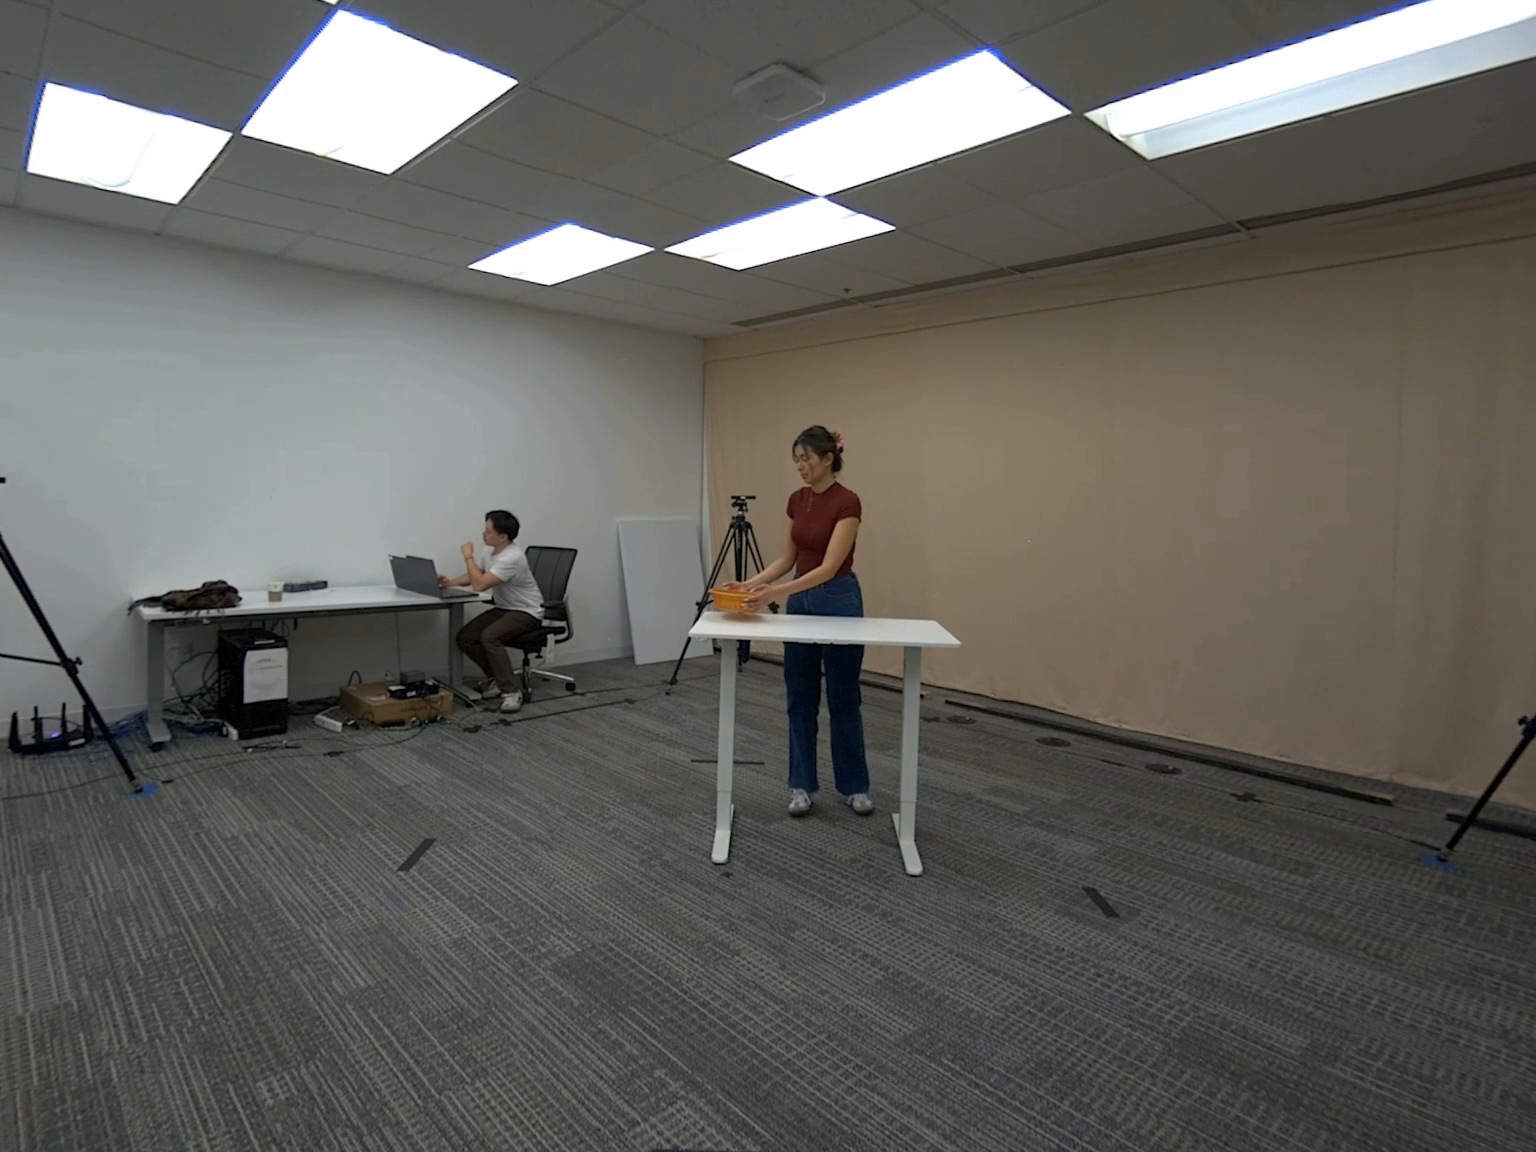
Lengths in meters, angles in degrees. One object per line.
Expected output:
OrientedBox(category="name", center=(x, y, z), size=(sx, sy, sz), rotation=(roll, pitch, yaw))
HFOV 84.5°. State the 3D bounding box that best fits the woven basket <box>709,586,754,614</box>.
OrientedBox(category="woven basket", center=(-0.120, 0.108, 3.575), size=(0.251, 0.073, 0.353), rotation=(4, 3, -7))
